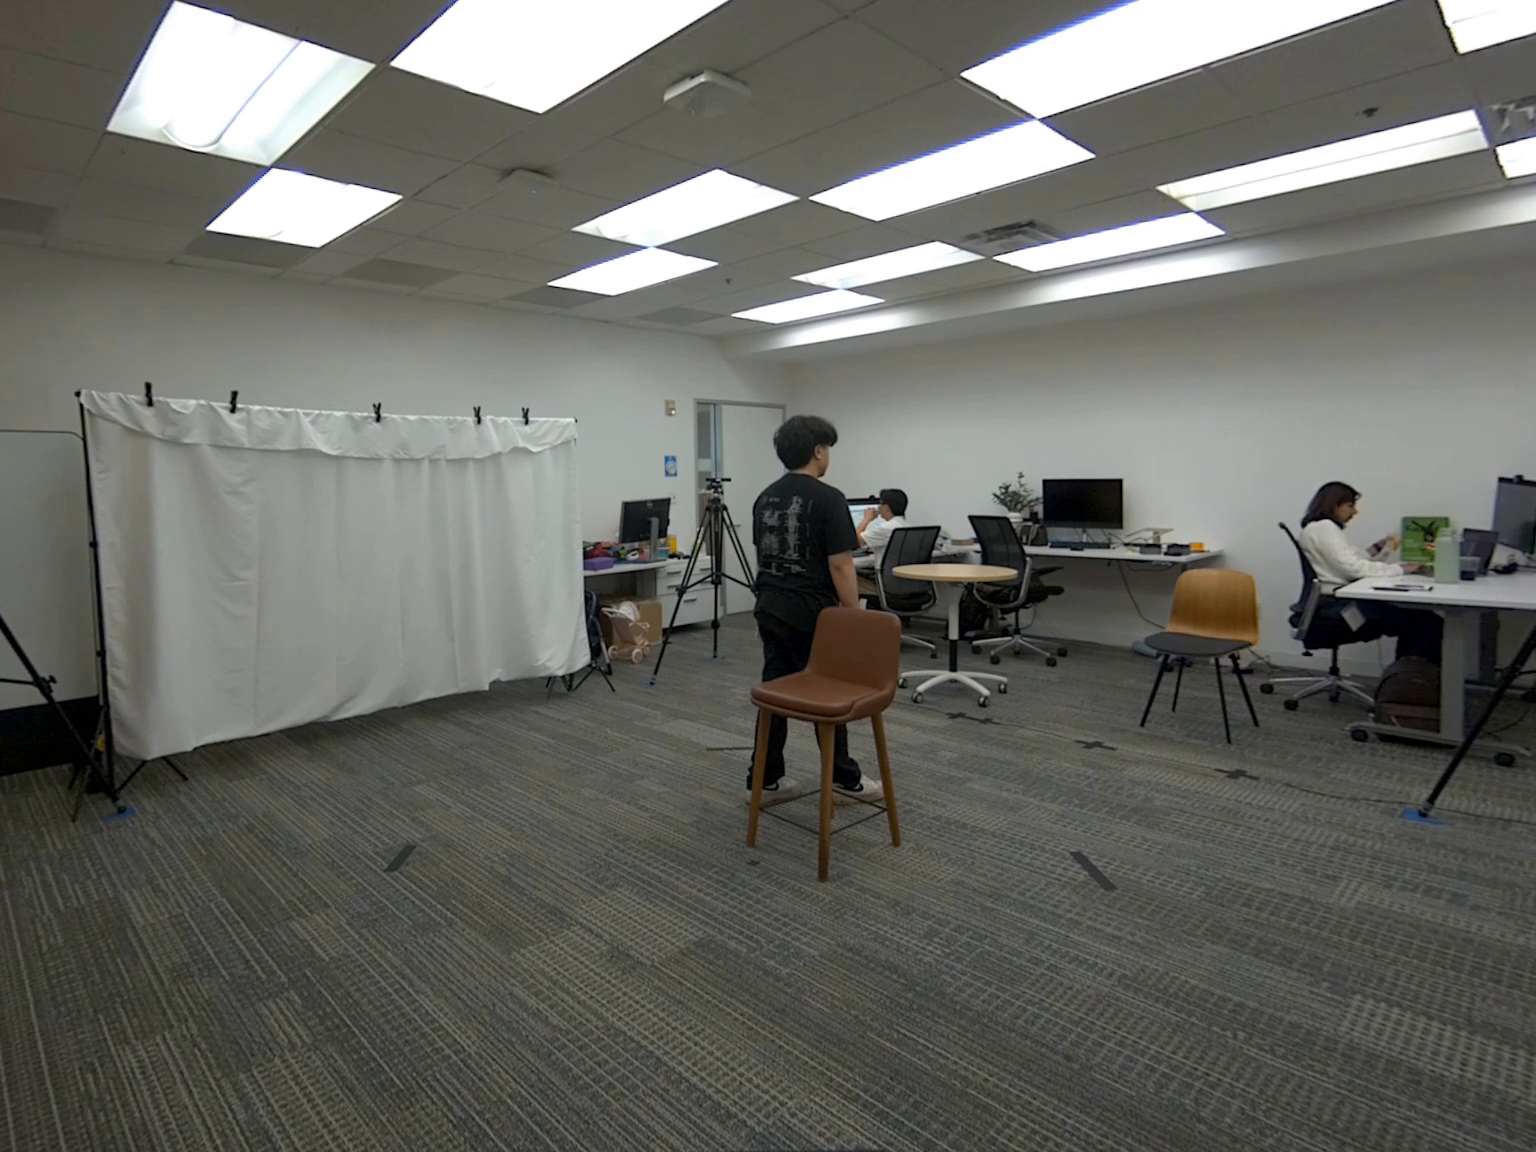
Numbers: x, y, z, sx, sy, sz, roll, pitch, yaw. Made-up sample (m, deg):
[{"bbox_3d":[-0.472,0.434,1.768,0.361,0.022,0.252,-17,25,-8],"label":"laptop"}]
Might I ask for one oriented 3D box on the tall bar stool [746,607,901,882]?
[{"bbox_3d":[0.221,0.590,3.220,0.454,0.888,0.470,-1,3,-41],"label":"tall bar stool"}]
